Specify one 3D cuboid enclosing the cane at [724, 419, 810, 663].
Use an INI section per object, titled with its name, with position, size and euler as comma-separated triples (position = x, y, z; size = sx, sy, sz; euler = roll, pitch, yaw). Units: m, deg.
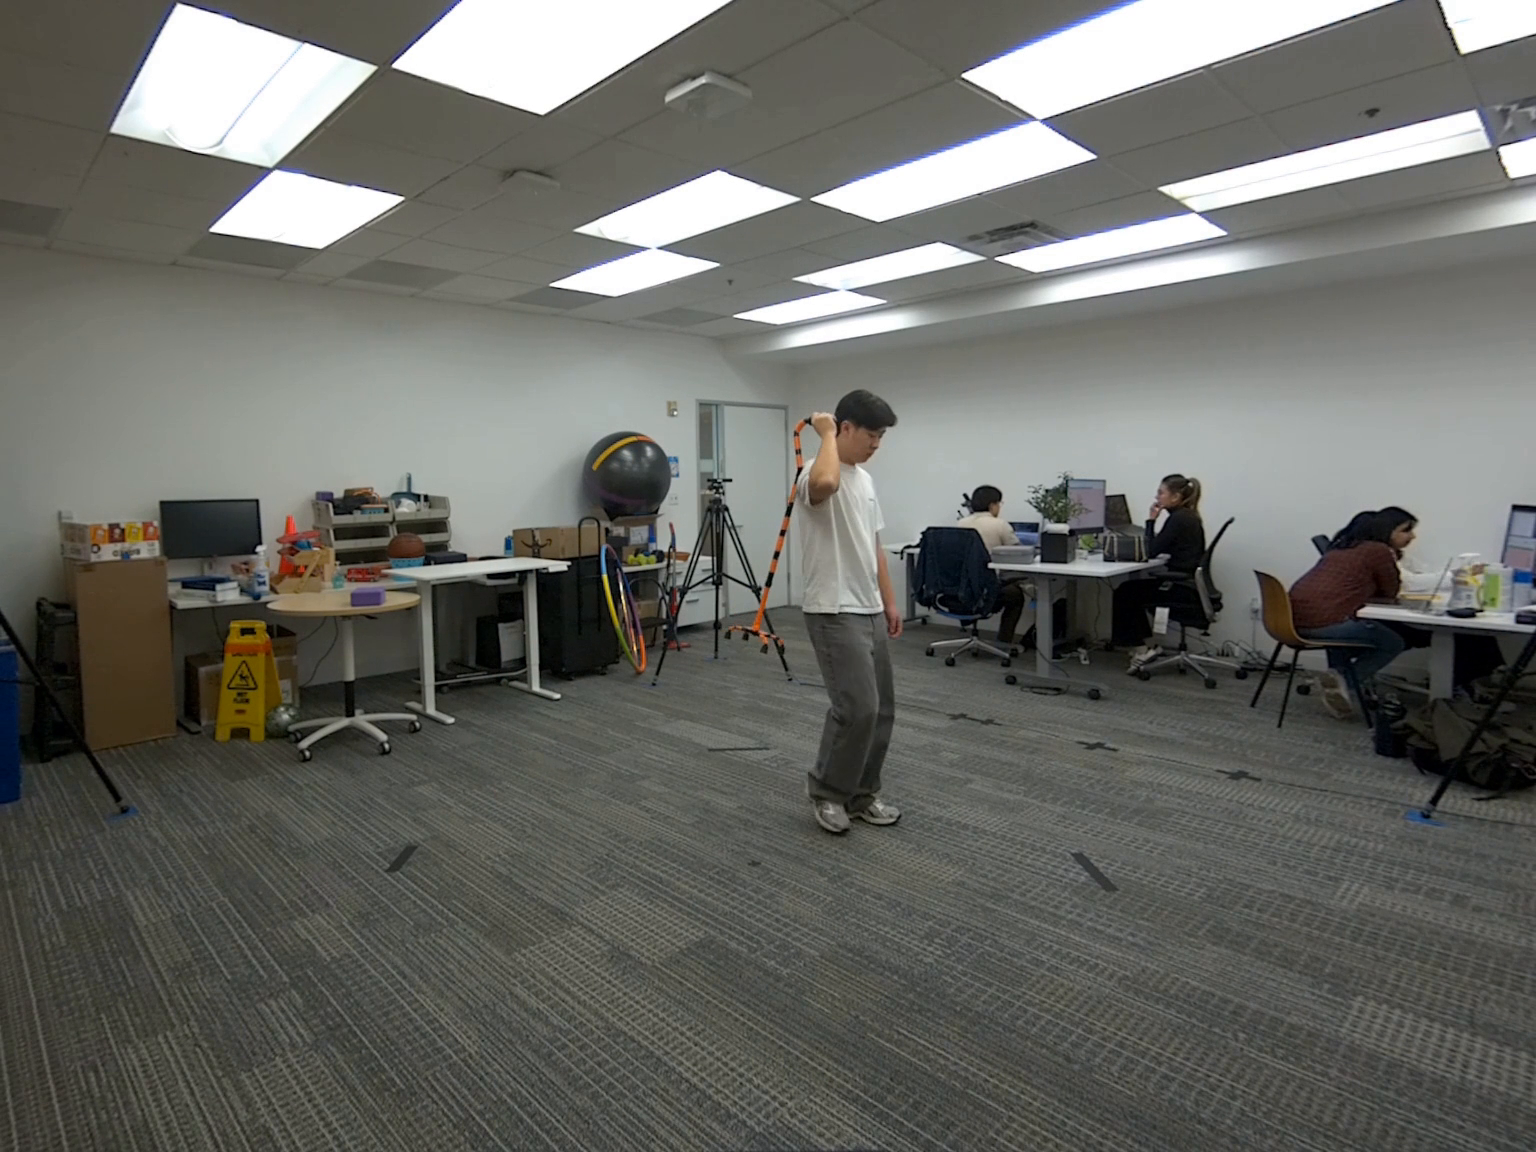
[cane]
position = 0.066, -0.170, 3.289
size = 0.213, 0.907, 0.147
euler = 15, 2, 30
